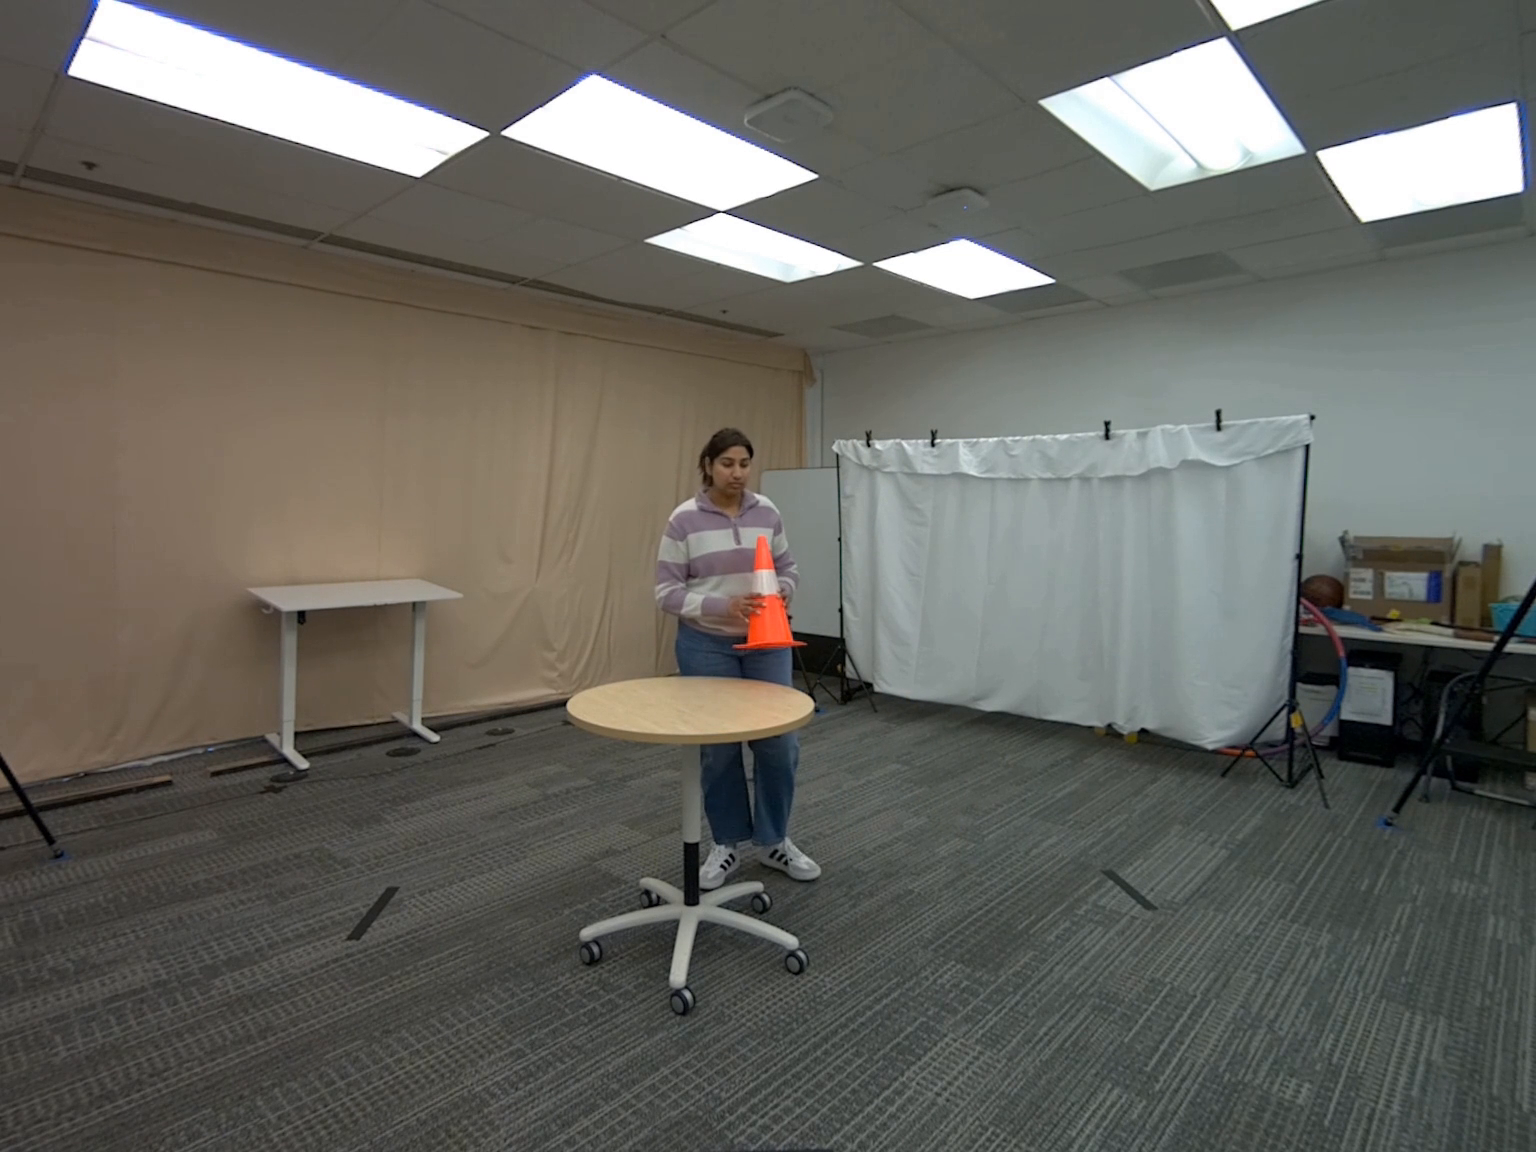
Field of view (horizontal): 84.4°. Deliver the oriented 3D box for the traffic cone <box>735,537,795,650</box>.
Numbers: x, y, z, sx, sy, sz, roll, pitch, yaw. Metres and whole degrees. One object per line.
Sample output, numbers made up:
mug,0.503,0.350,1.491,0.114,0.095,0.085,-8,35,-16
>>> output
traffic cone,-0.007,0.050,2.912,0.210,0.387,0.196,-14,-15,39
